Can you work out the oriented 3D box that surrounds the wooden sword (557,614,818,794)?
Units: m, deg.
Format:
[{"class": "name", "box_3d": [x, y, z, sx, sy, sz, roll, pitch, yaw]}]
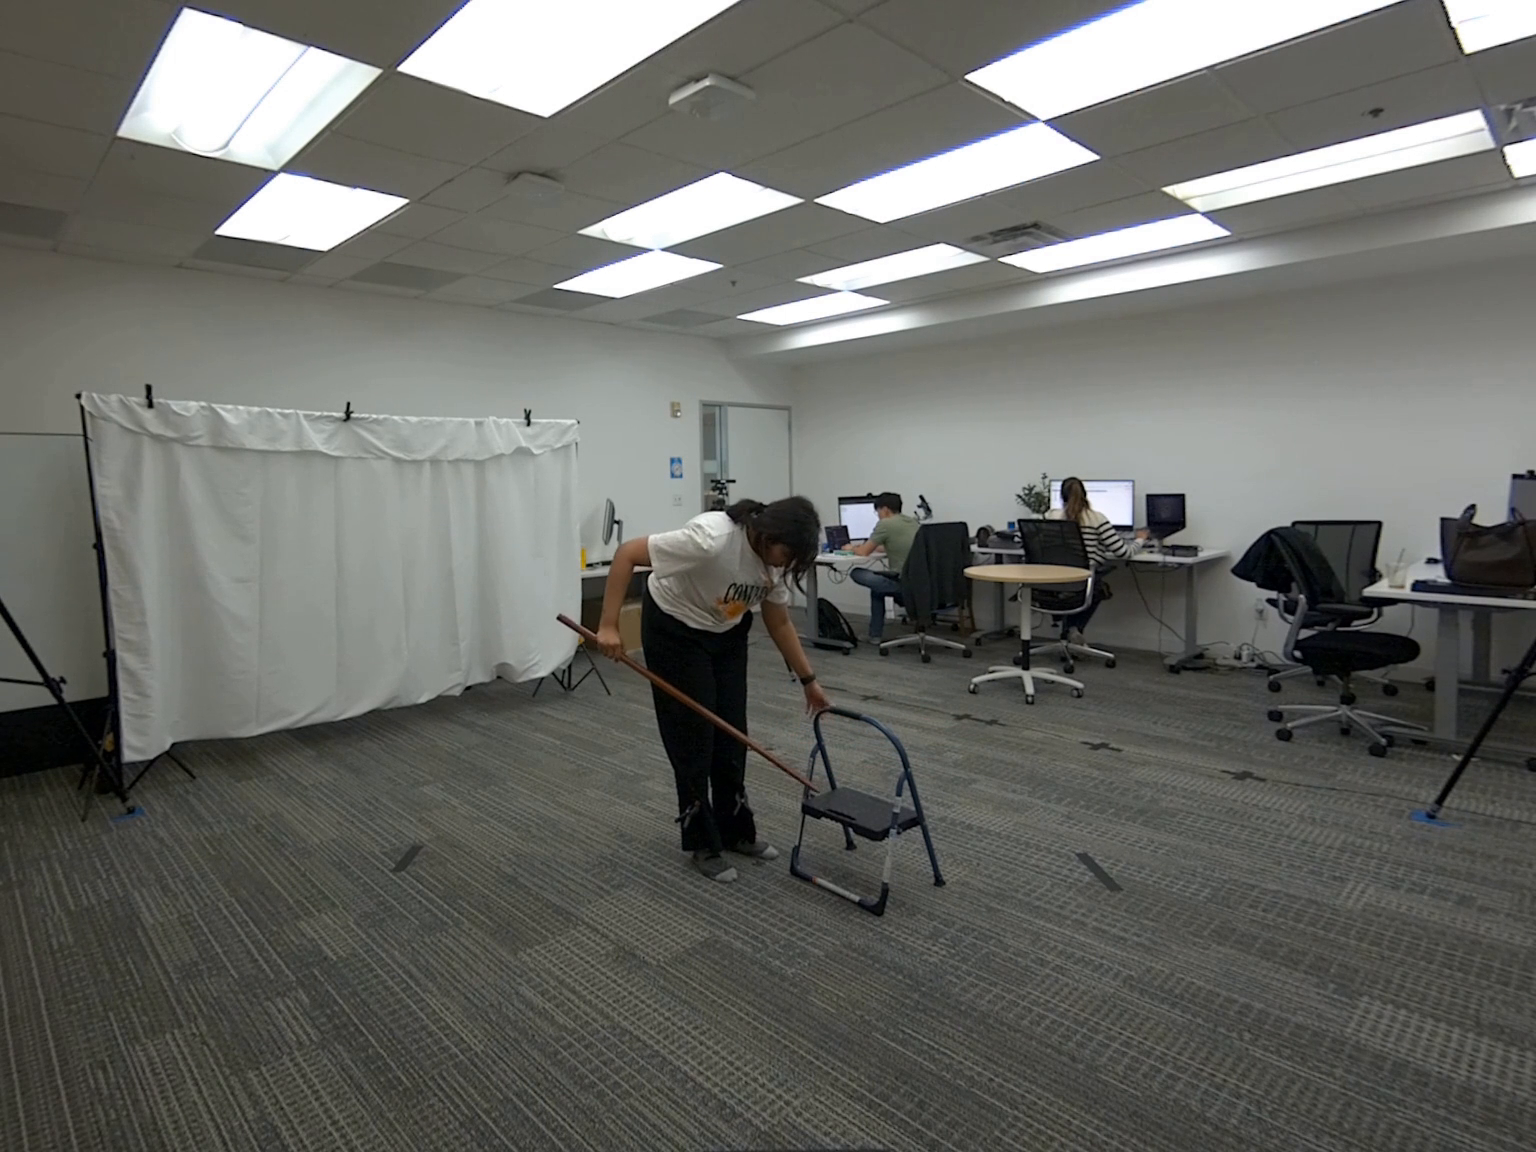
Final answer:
[{"class": "wooden sword", "box_3d": [-0.240, 0.437, 2.821, 1.027, 0.024, 0.051, 35, 1, 2]}]
